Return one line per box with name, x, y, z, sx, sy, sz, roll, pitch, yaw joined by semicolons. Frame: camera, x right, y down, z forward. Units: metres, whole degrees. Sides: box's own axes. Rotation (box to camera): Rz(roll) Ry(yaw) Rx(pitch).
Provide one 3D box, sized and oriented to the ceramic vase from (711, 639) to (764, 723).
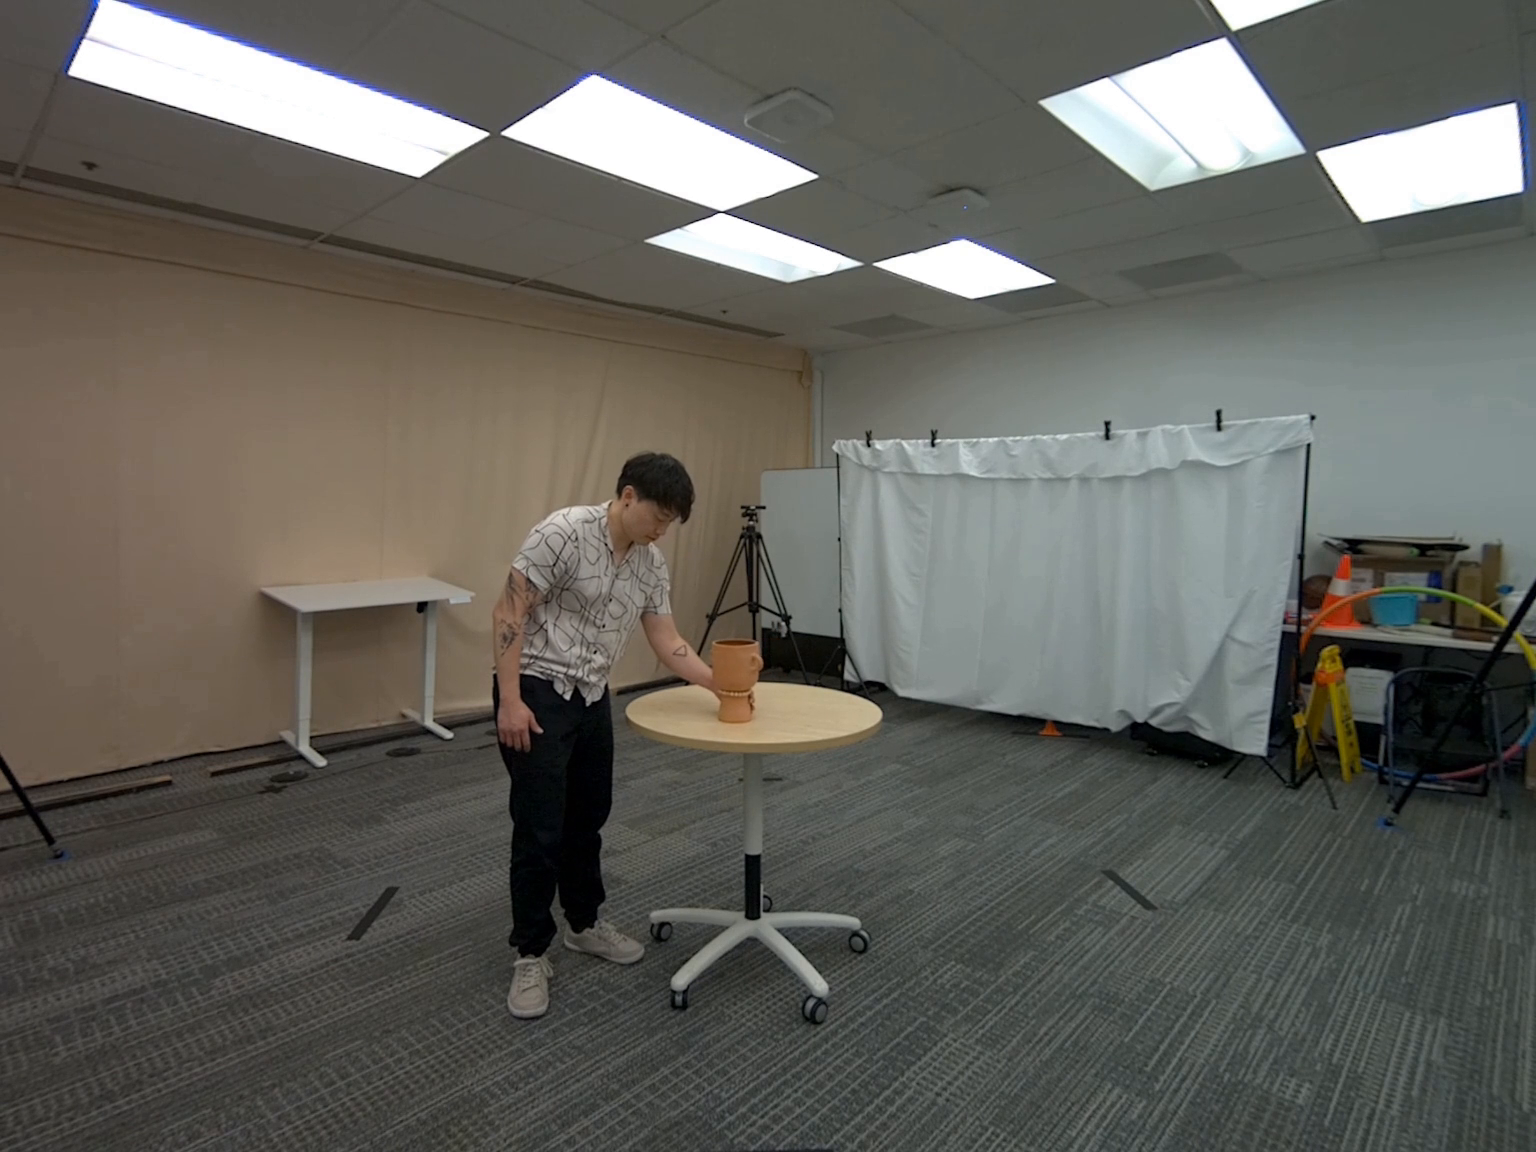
ceramic vase;-0.097;0.304;2.382;0.134;0.219;0.160;-1;3;-7
